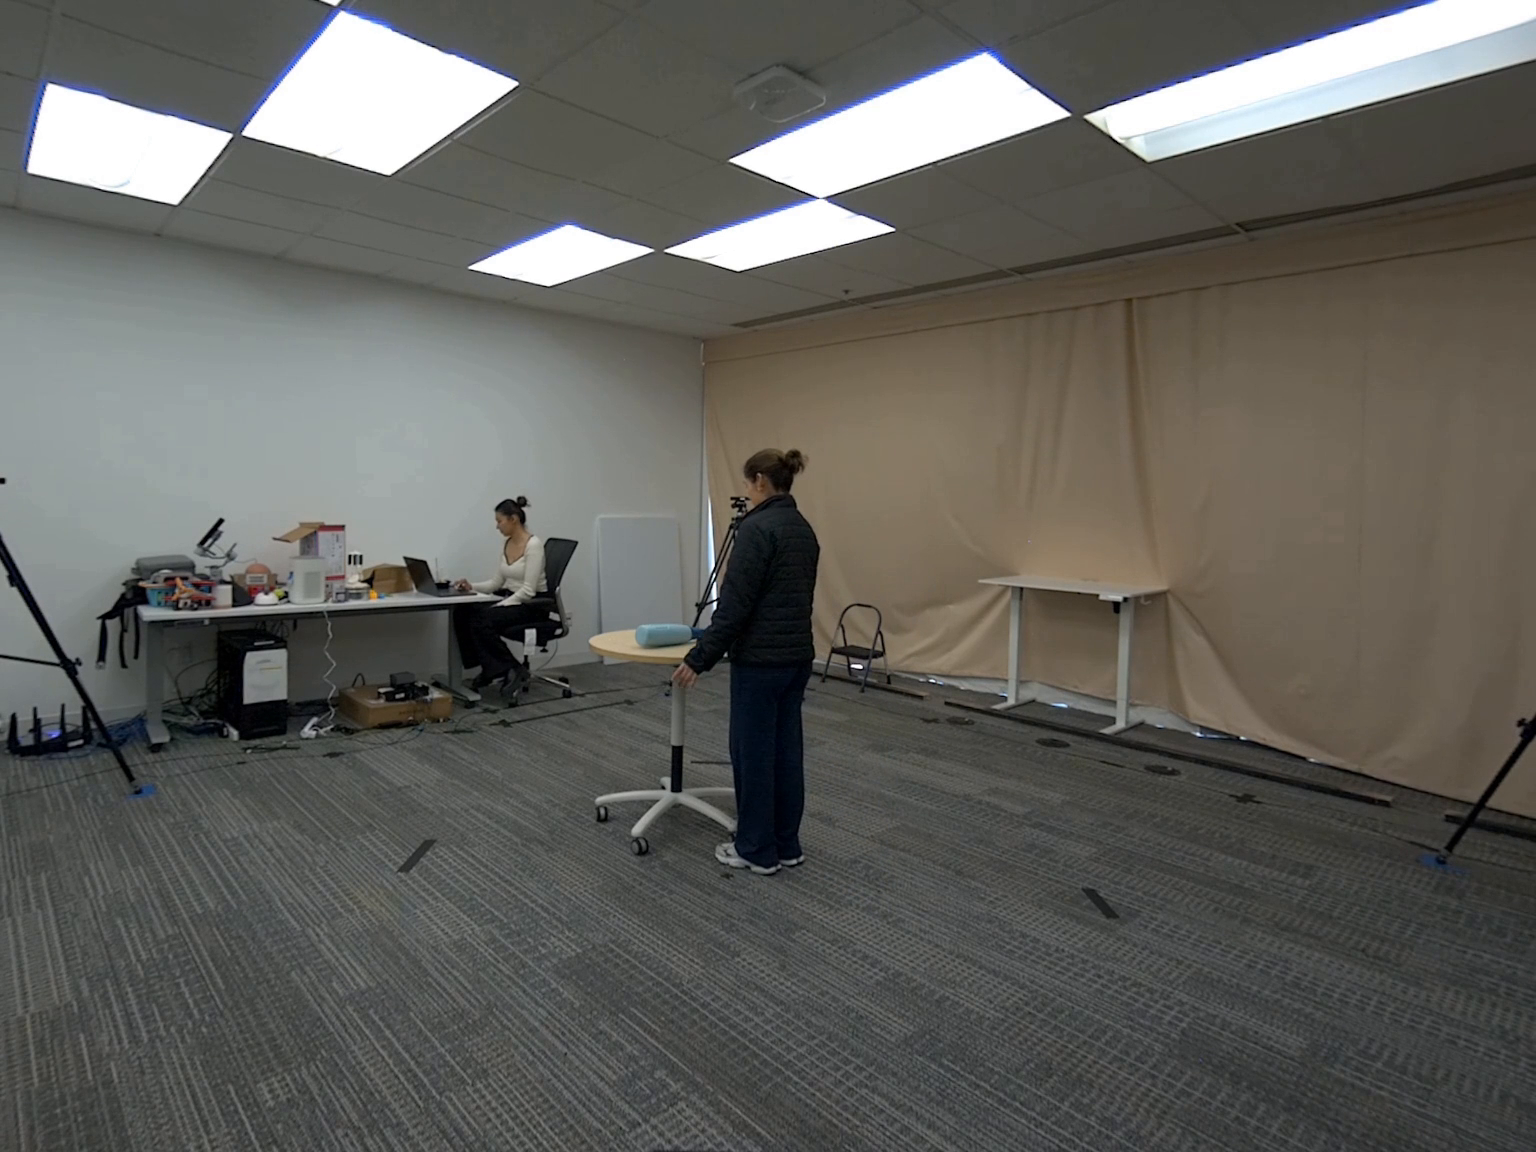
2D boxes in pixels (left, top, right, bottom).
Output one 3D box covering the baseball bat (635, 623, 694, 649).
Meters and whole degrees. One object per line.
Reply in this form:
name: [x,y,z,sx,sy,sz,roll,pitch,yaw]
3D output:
baseball bat: [-0.328,0.244,3.523,0.091,0.089,0.530,5,3,43]
